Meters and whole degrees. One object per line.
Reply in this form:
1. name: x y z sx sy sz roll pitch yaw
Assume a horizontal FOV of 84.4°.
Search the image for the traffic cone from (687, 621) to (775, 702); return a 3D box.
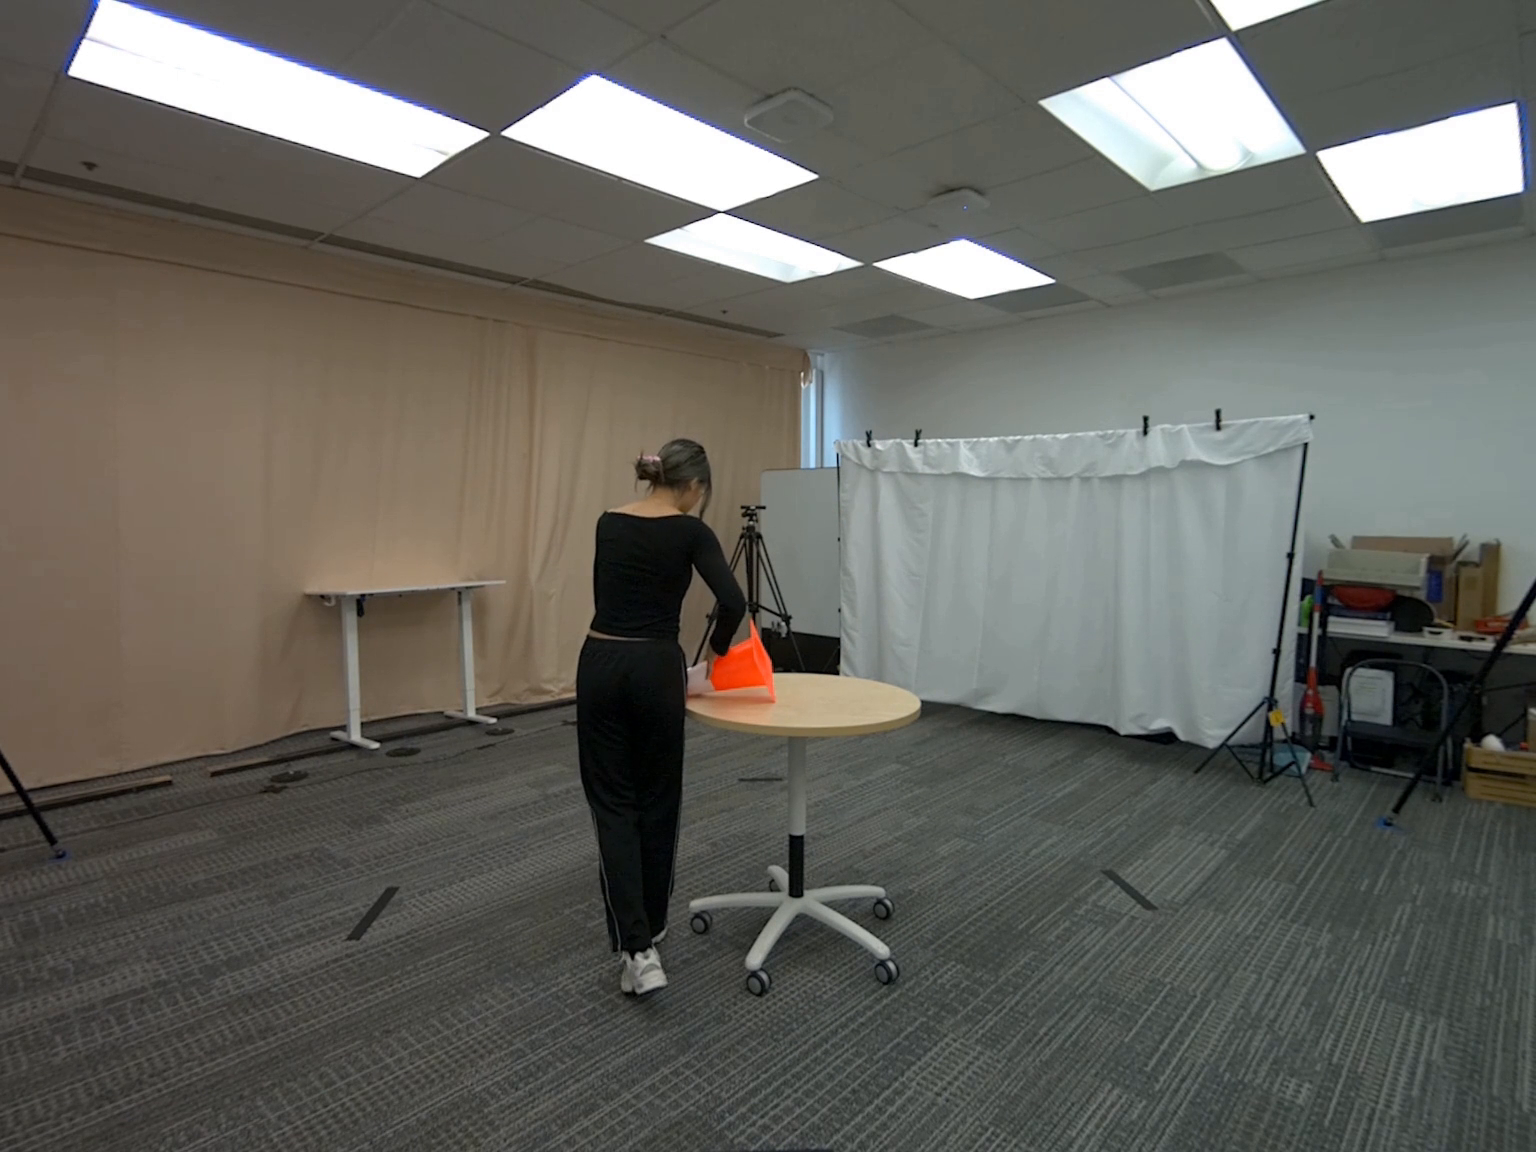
1. traffic cone: -0.189 0.323 2.637 0.385 0.198 0.209 -17 31 5
